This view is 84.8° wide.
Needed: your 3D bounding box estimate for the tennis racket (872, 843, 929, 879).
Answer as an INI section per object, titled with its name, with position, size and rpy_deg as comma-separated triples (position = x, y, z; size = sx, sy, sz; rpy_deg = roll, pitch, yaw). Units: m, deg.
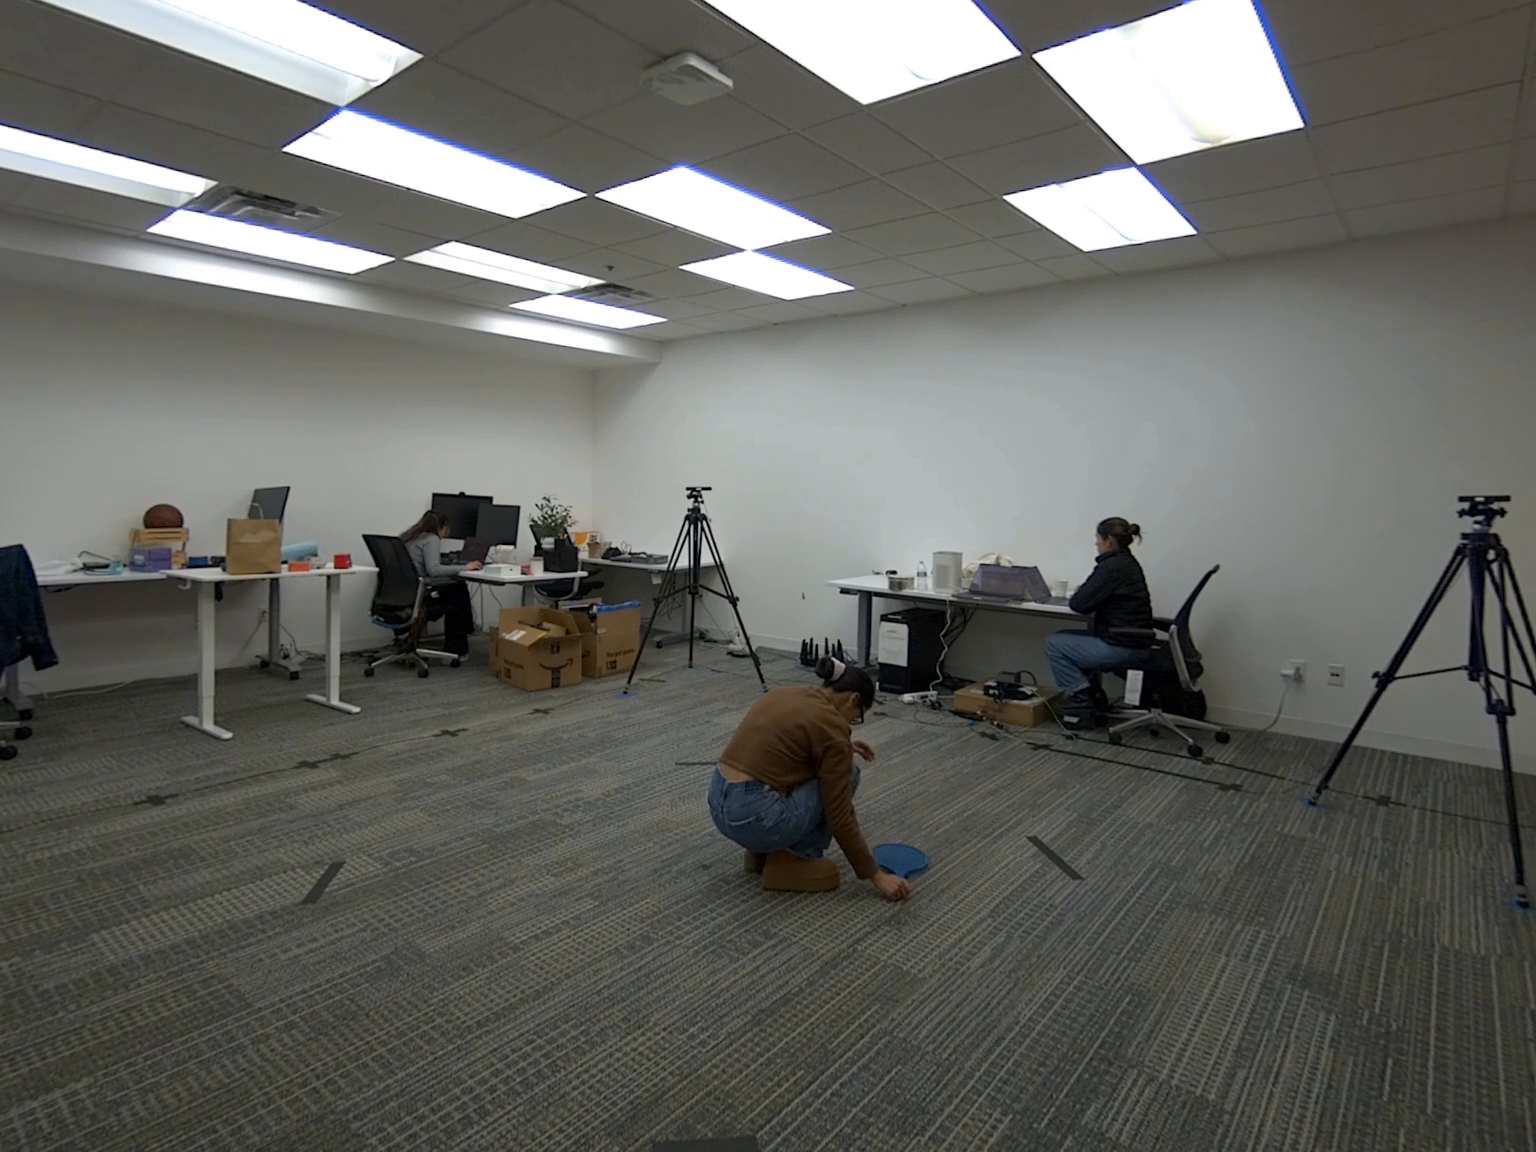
[tennis racket]
position = 0.477, 1.059, 3.124
size = 0.216, 0.032, 0.430
rpy_deg = 3, 4, 7
